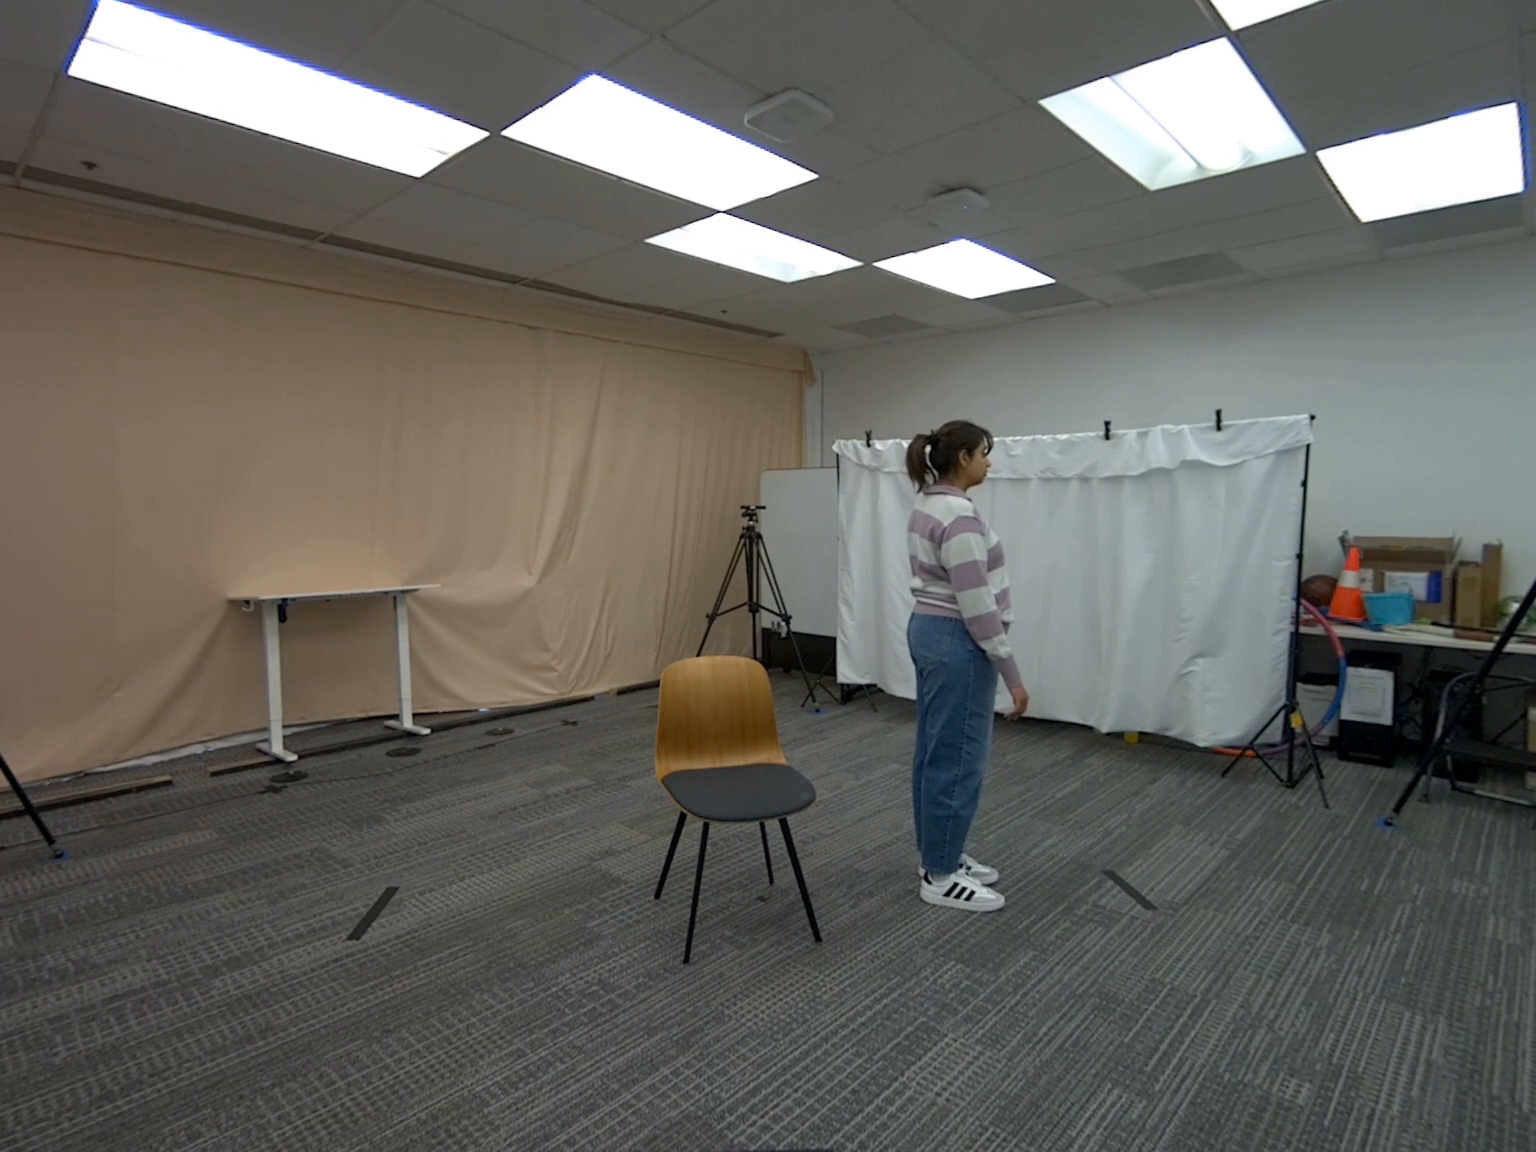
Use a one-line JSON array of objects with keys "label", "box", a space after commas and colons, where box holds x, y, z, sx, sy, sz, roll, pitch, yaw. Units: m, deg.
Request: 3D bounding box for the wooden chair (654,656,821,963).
[{"label": "wooden chair", "box": [-0.110, 0.735, 2.801, 0.470, 0.878, 0.532, -1, -1, -18]}]
